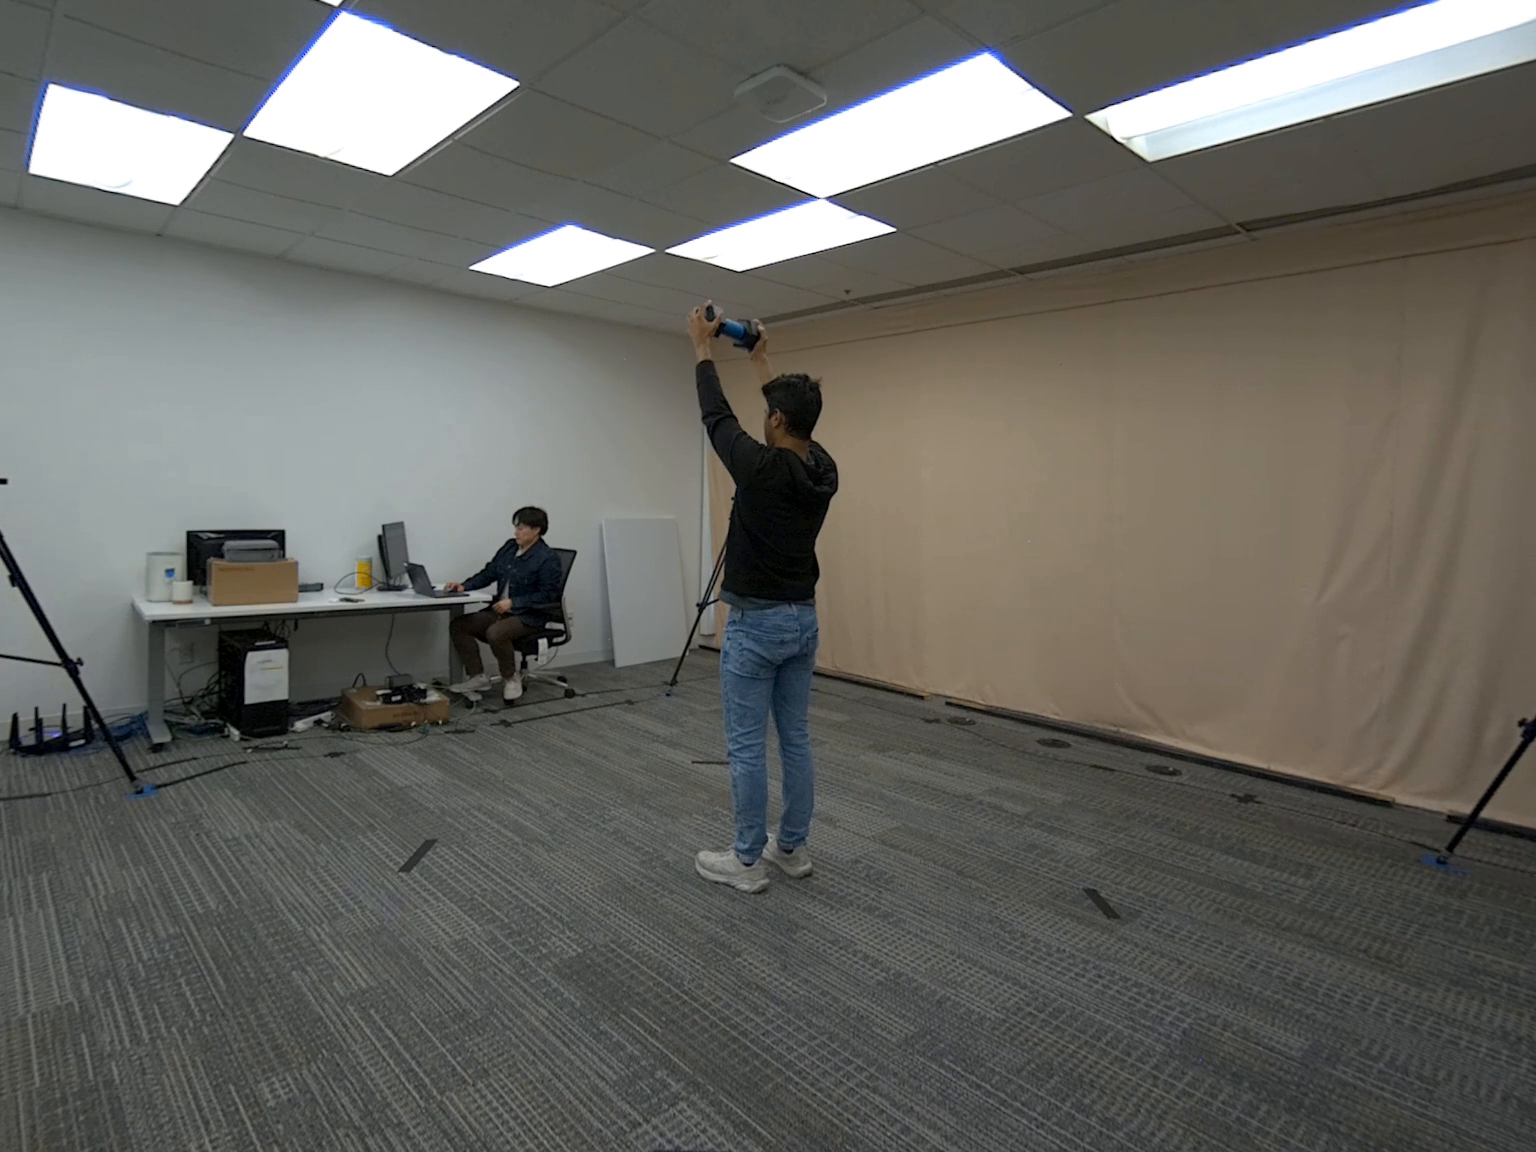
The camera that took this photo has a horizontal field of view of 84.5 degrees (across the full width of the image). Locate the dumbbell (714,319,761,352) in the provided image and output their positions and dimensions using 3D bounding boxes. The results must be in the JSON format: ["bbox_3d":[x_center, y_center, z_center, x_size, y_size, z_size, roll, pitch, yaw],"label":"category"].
[{"bbox_3d":[-0.164,-0.926,3.190,0.286,0.122,0.112,3,42,-47],"label":"dumbbell"}]
